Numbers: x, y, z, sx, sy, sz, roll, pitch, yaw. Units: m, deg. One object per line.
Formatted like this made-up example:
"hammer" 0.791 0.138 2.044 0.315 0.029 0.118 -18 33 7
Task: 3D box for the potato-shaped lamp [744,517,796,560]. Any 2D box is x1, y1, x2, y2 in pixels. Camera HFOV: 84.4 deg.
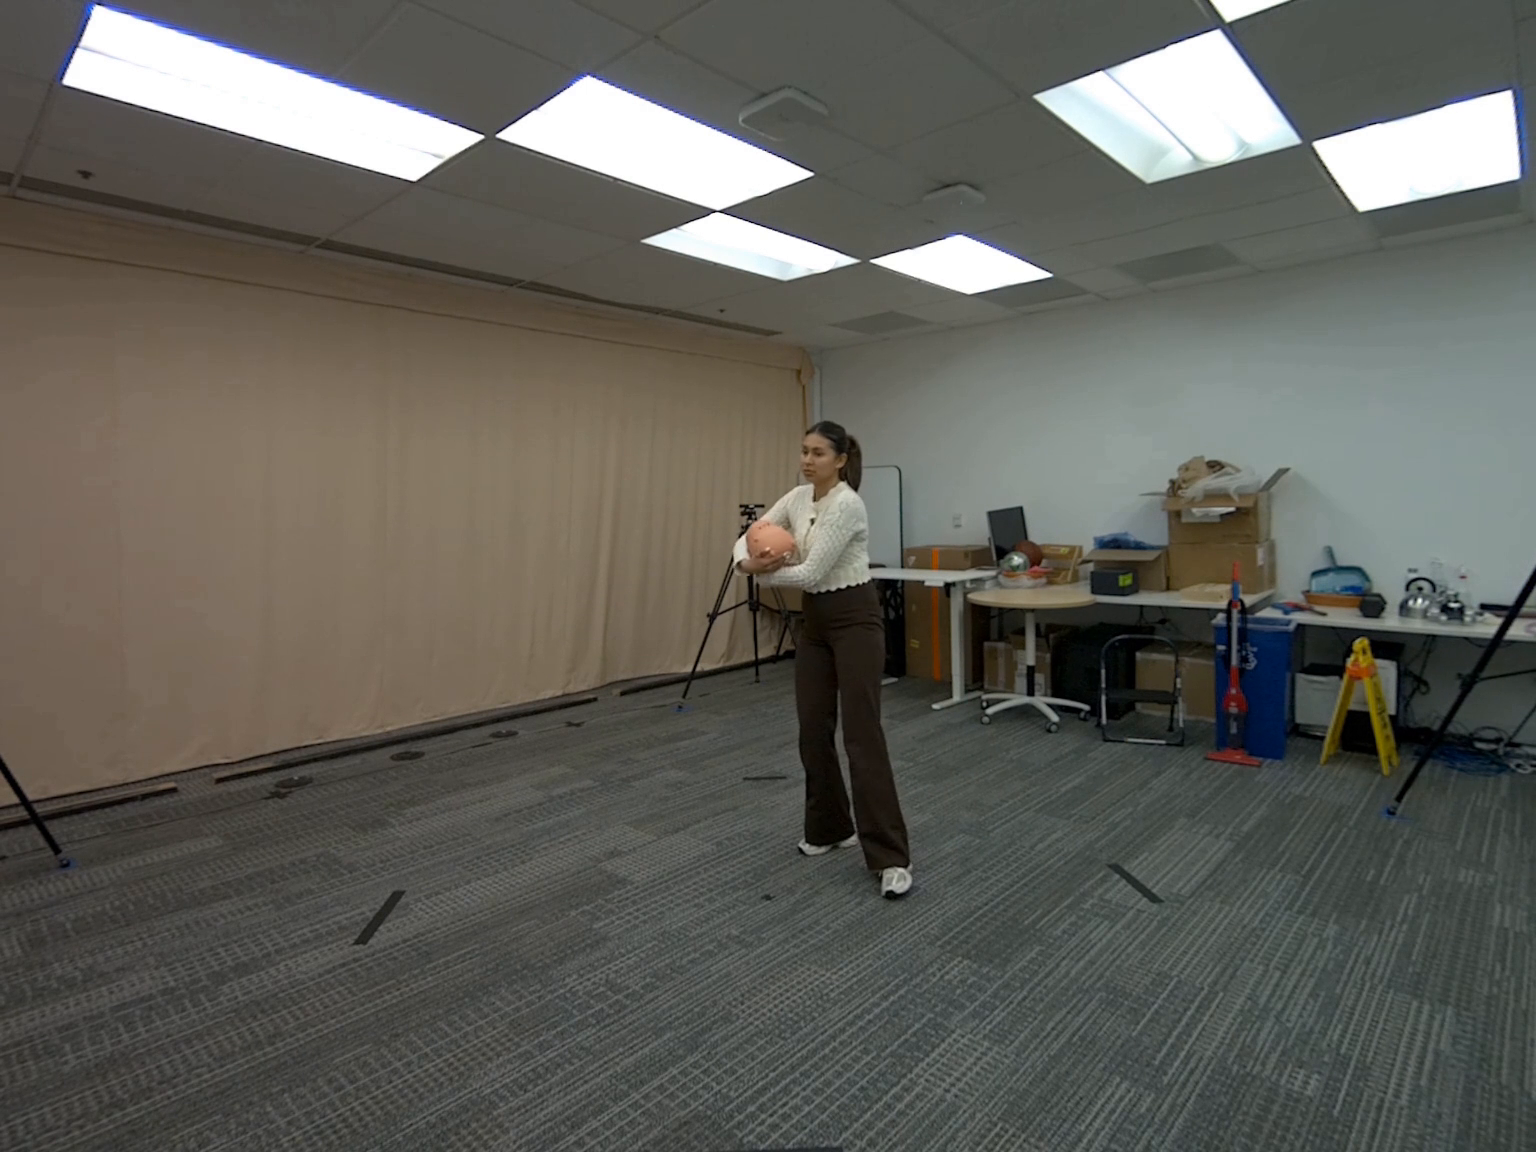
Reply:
"potato-shaped lamp" 0.019 -0.128 3.258 0.162 0.203 0.169 -13 -32 -18
